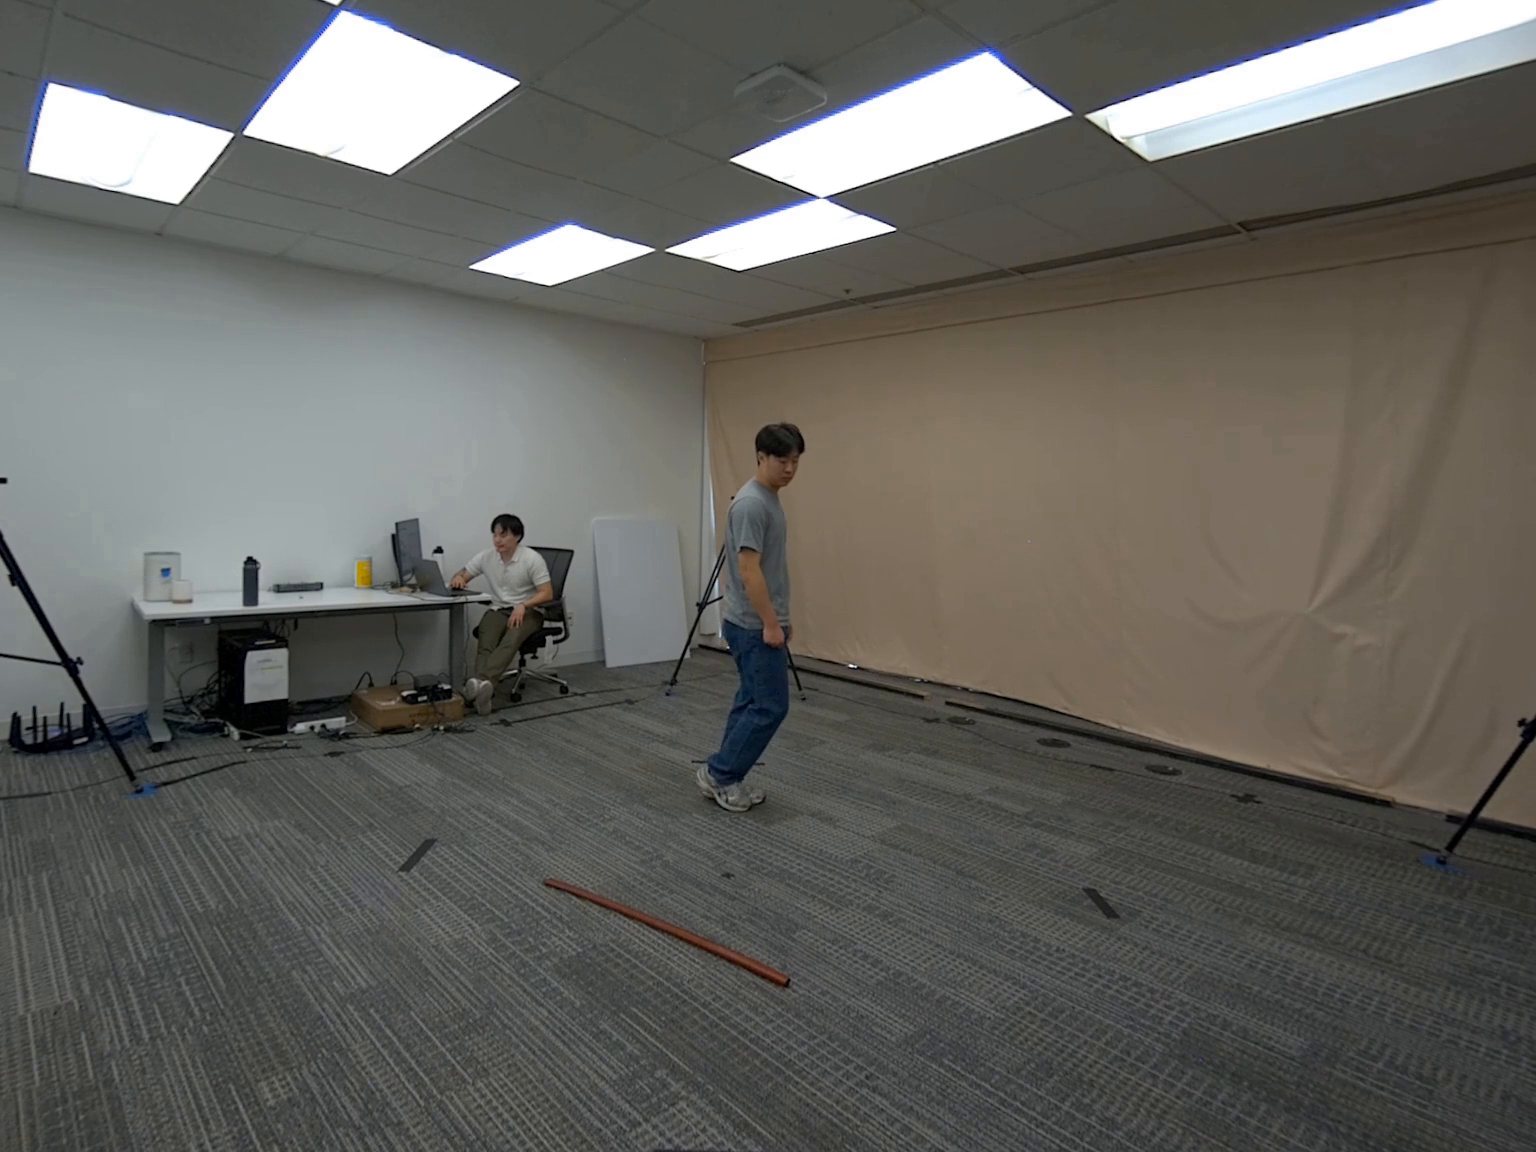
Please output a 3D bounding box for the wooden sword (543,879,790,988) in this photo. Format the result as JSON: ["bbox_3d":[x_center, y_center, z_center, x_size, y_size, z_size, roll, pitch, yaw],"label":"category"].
[{"bbox_3d":[-0.371,1.113,2.718,1.049,0.024,0.049,4,-25,36],"label":"wooden sword"}]
